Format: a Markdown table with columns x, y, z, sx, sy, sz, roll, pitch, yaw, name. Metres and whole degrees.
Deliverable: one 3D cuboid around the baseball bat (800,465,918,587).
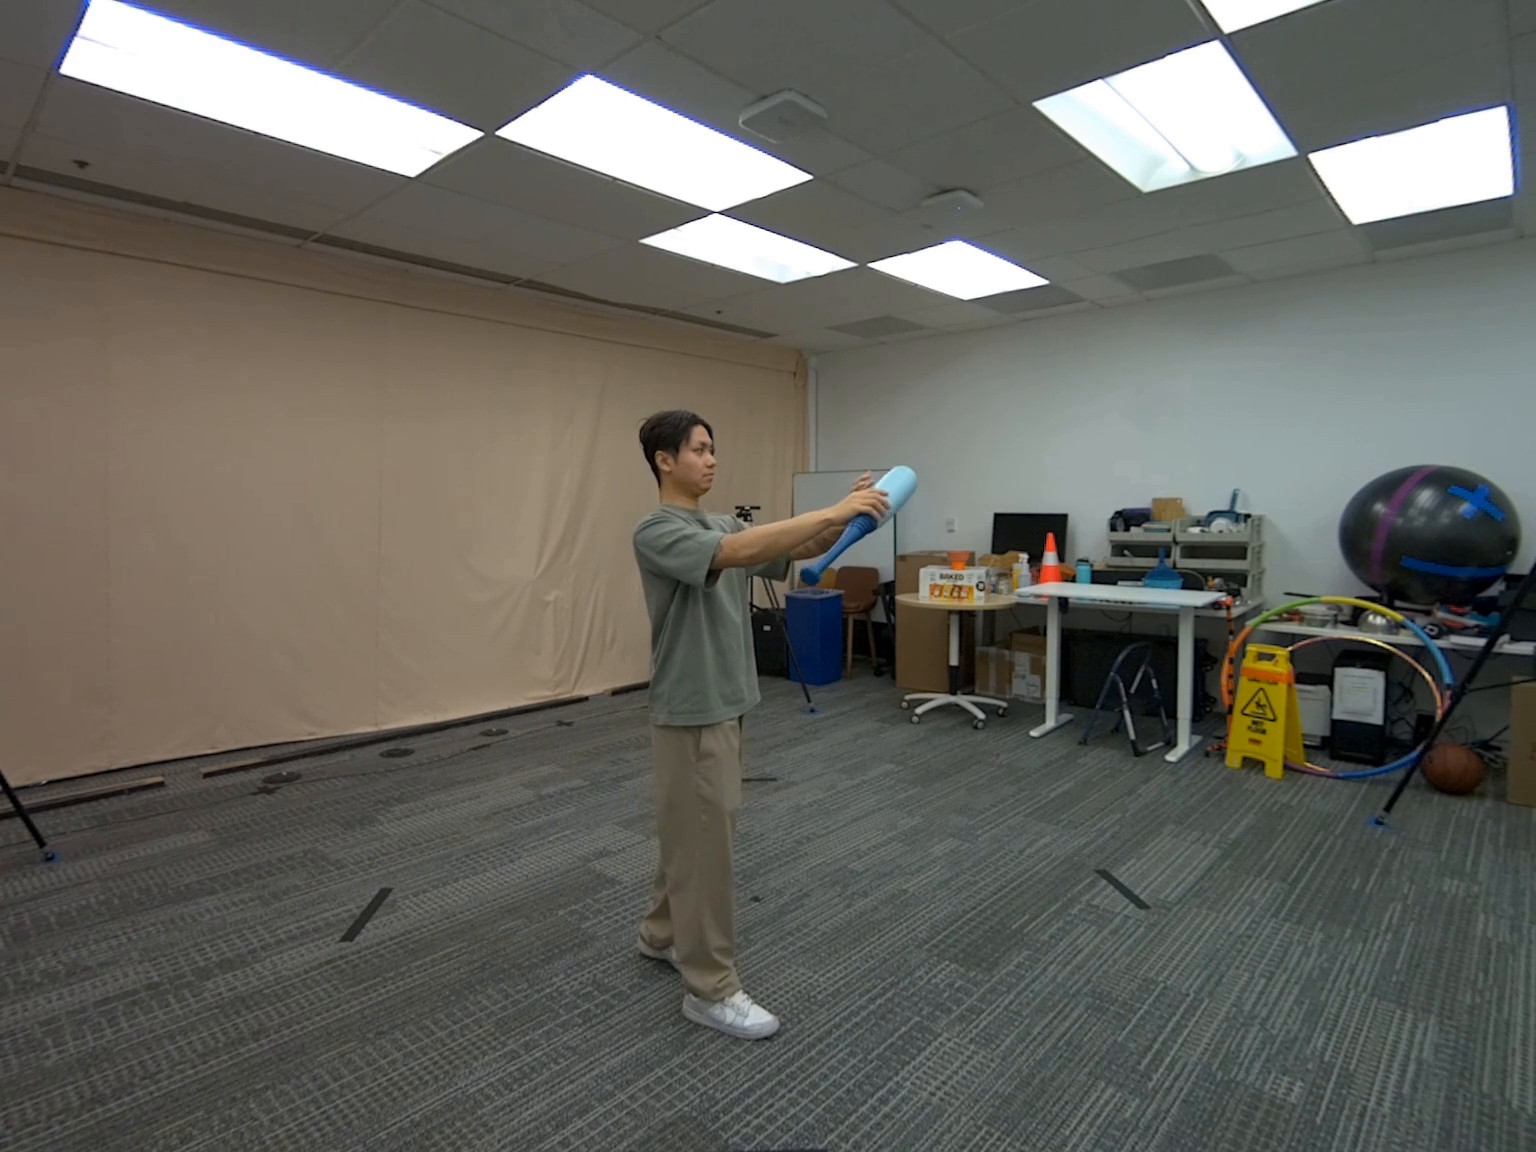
| x | y | z | sx | sy | sz | roll | pitch | yaw | name |
| --- | --- | --- | --- | --- | --- | --- | --- | --- | --- |
| 0.234 | -0.127 | 2.066 | 0.092 | 0.087 | 0.537 | 2 | 33 | 35 | baseball bat |
